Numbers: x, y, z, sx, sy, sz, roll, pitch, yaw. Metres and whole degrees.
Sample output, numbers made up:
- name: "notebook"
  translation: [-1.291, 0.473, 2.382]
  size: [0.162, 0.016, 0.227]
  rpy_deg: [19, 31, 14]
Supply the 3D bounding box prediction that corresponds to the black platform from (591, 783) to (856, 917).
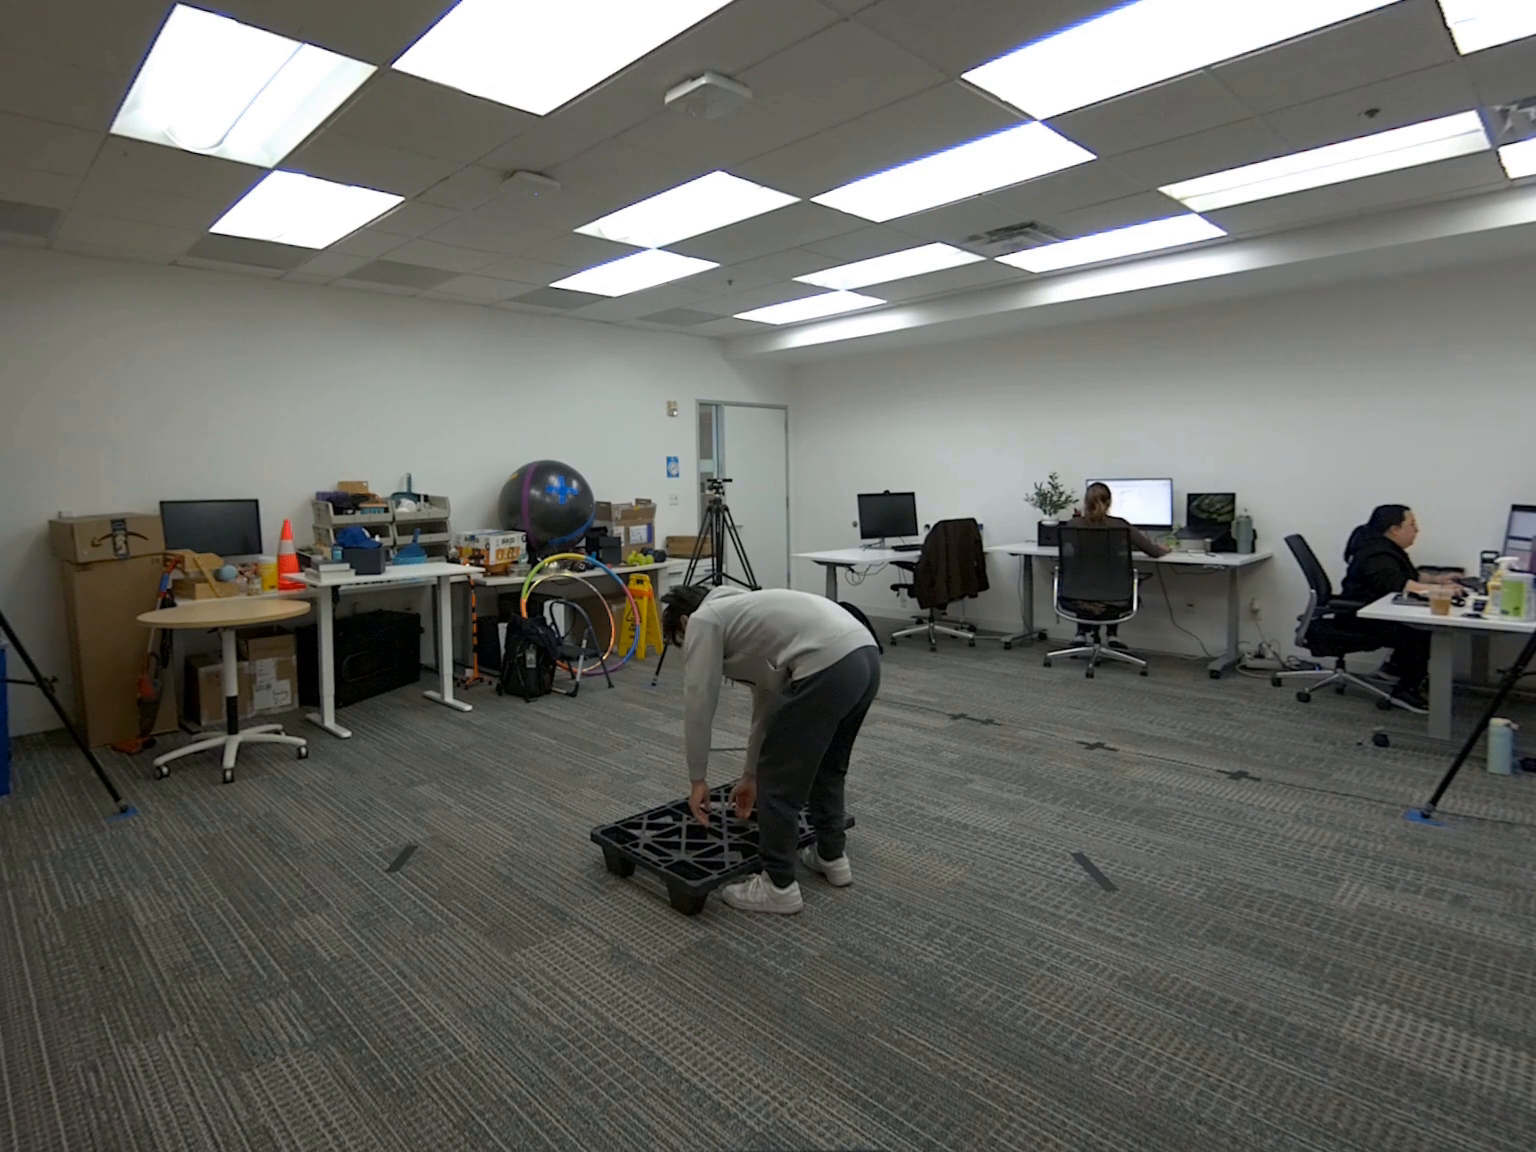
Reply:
- name: "black platform"
  translation: [-0.153, 0.978, 3.150]
  size: [0.784, 0.142, 0.624]
  rpy_deg: [-7, 10, -44]
